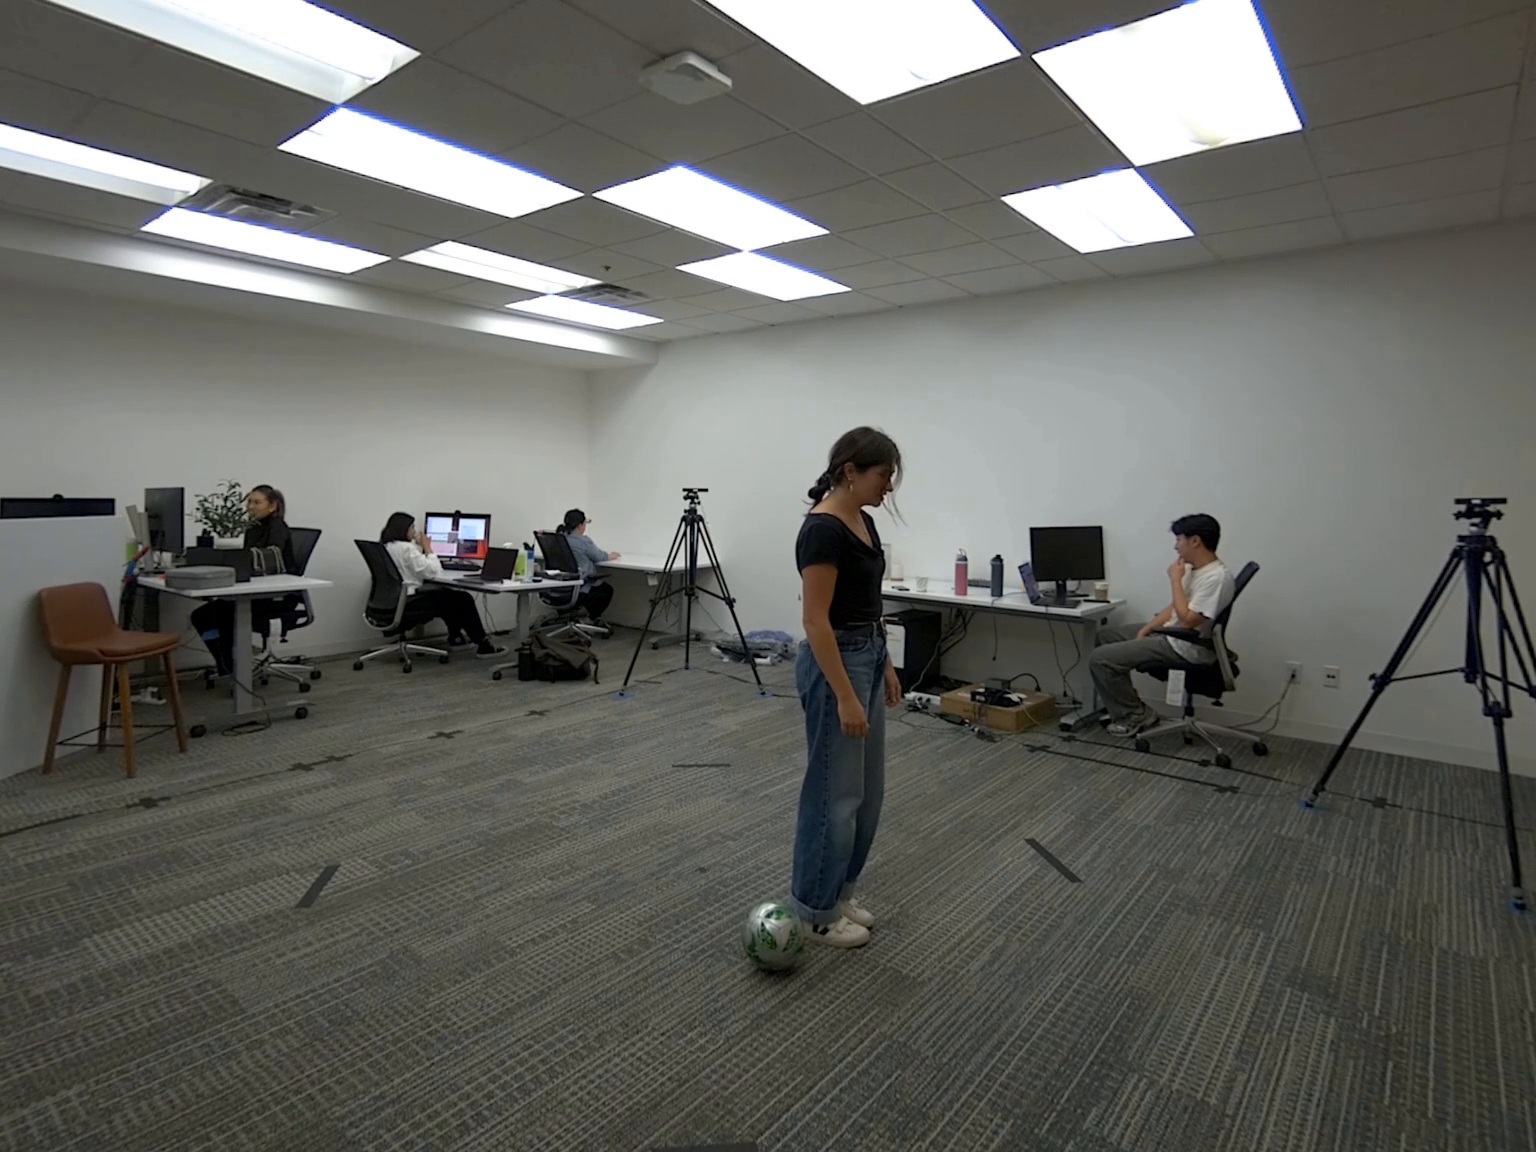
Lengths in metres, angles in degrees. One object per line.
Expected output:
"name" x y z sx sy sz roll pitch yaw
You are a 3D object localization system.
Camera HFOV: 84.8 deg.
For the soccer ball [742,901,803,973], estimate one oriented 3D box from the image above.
"soccer ball" 0.015 1.040 2.484 0.187 0.187 0.188 1 4 -2
